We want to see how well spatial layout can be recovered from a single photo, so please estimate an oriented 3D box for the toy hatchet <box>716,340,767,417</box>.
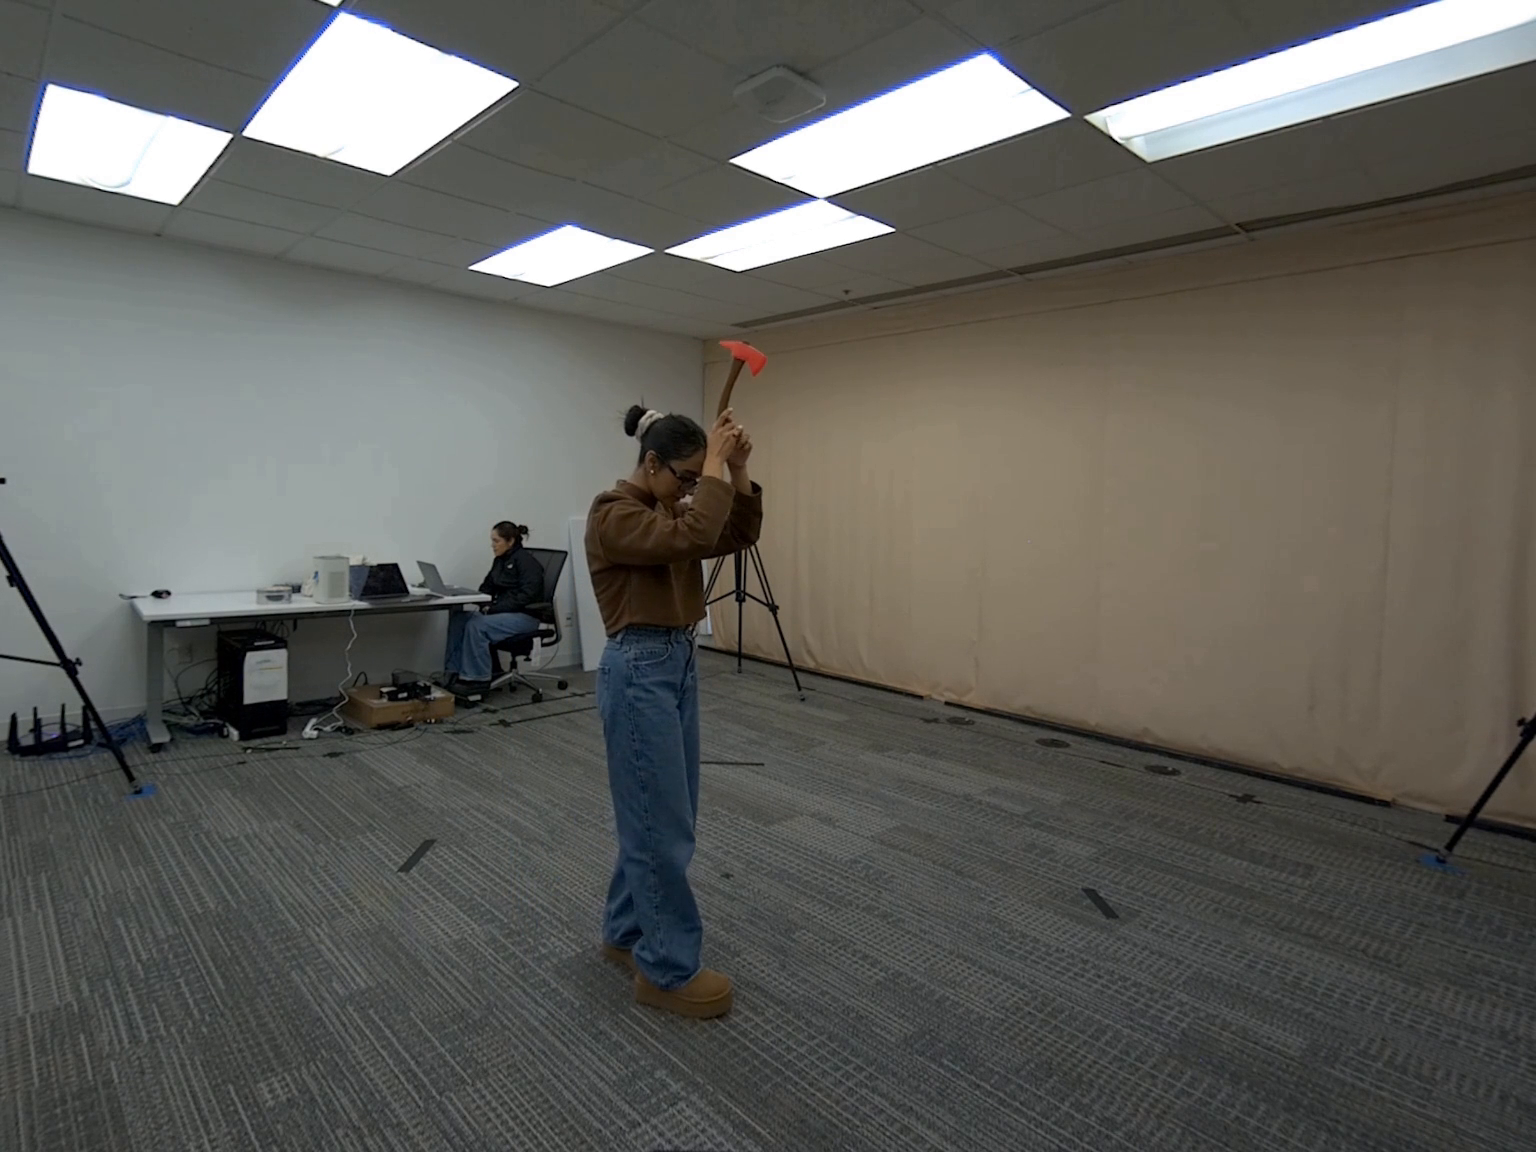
[{"bbox_3d":[-0.084,-0.496,2.240,0.131,0.268,0.030,3,8,2],"label":"toy hatchet"}]
